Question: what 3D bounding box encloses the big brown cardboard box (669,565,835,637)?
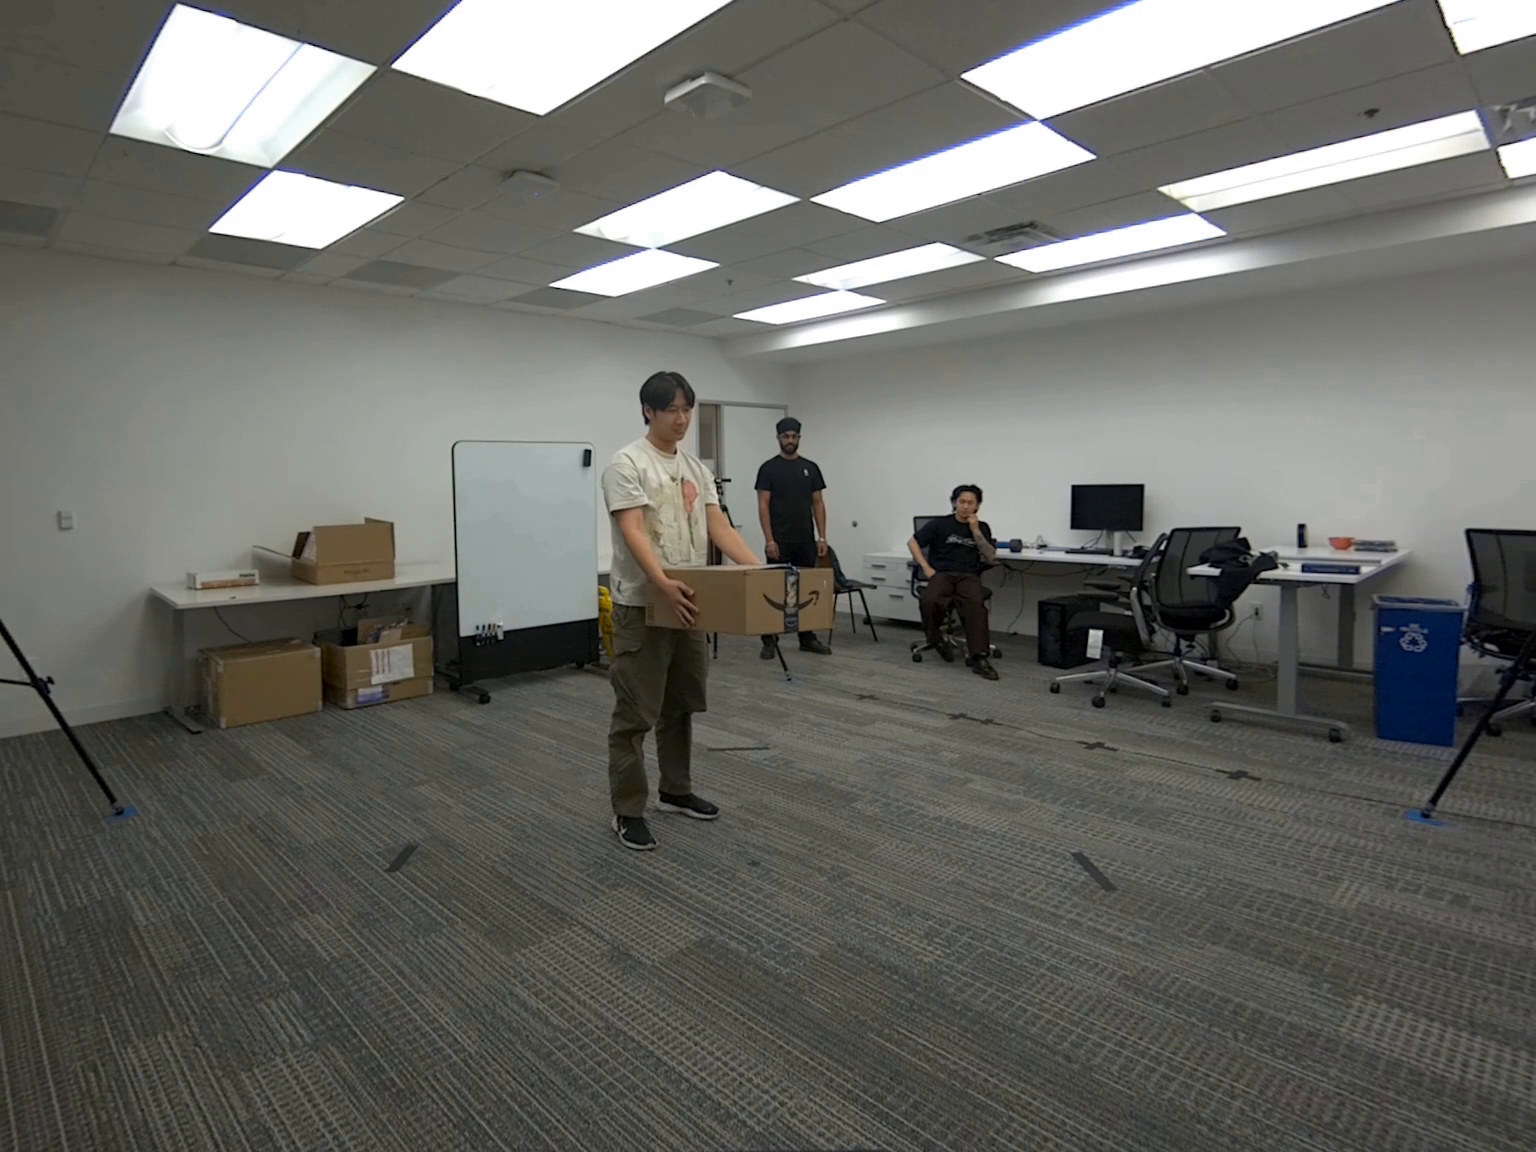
[{"bbox_3d":[-0.113,0.078,3.096,0.406,0.233,0.605,-1,0,-41],"label":"big brown cardboard box"}]
